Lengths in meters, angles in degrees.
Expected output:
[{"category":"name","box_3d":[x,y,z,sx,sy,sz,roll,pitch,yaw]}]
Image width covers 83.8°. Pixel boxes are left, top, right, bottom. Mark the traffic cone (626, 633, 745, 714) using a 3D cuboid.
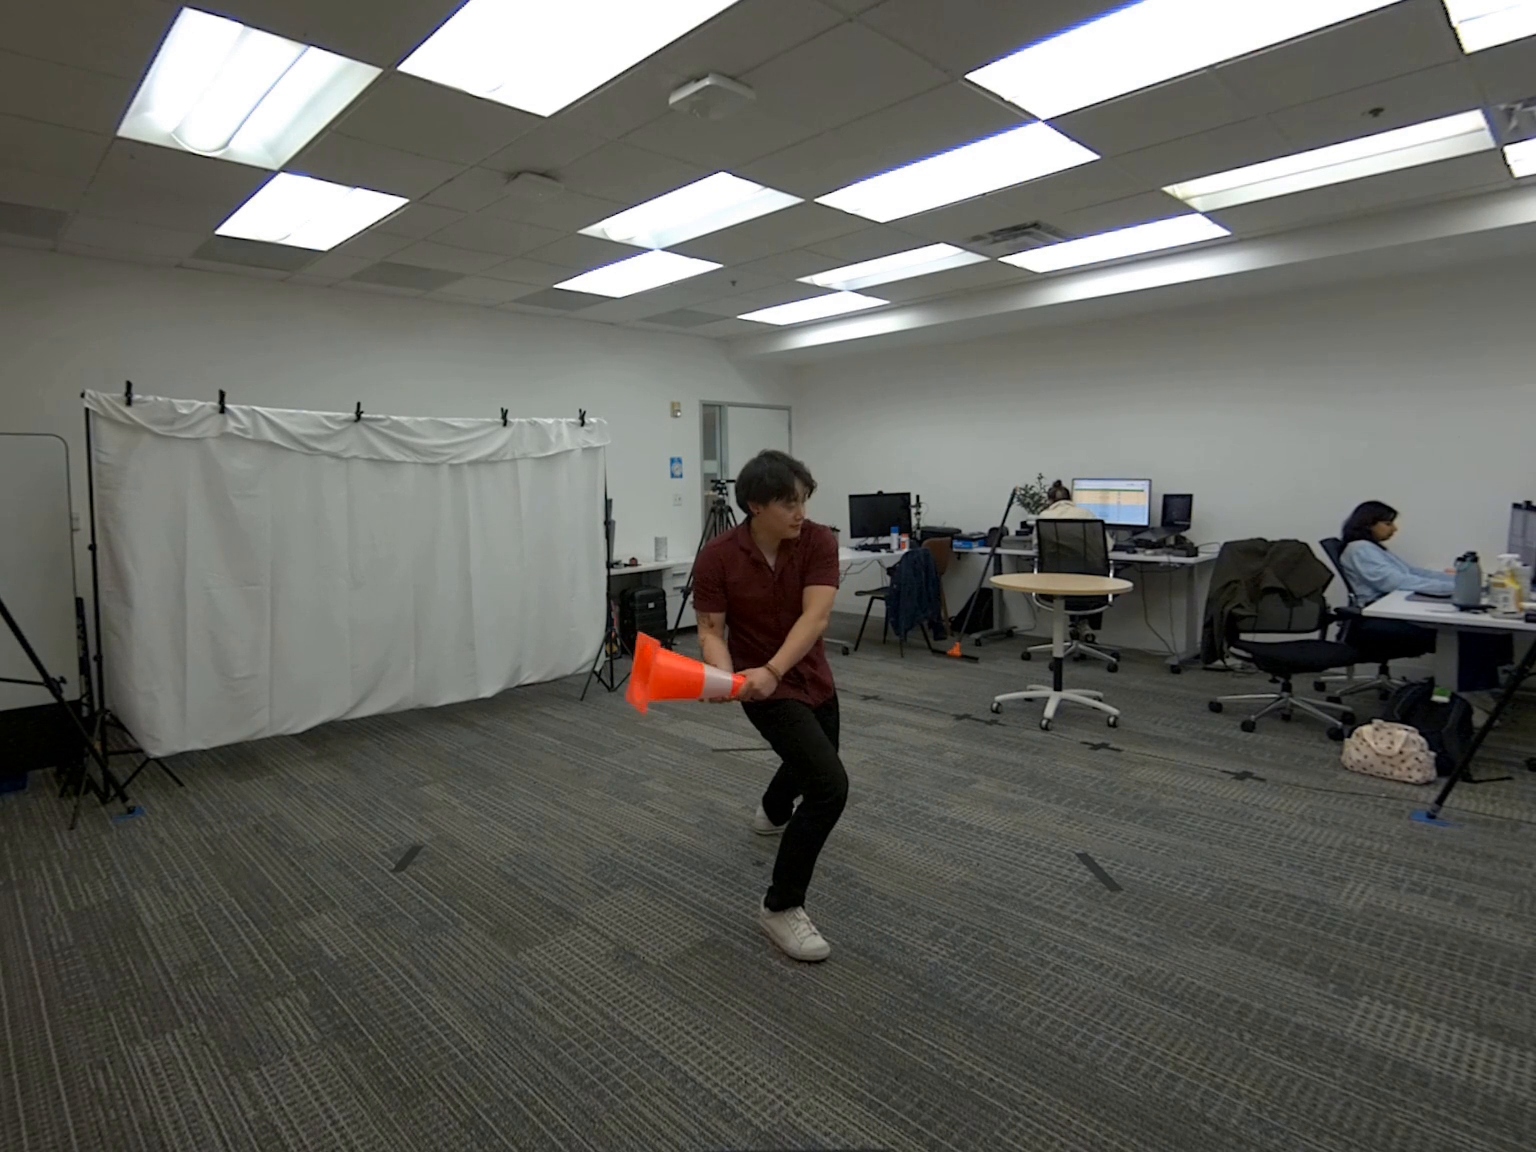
[{"category":"traffic cone","box_3d":[-0.161,0.293,2.397,0.376,0.205,0.207,11,-1,-19]}]
